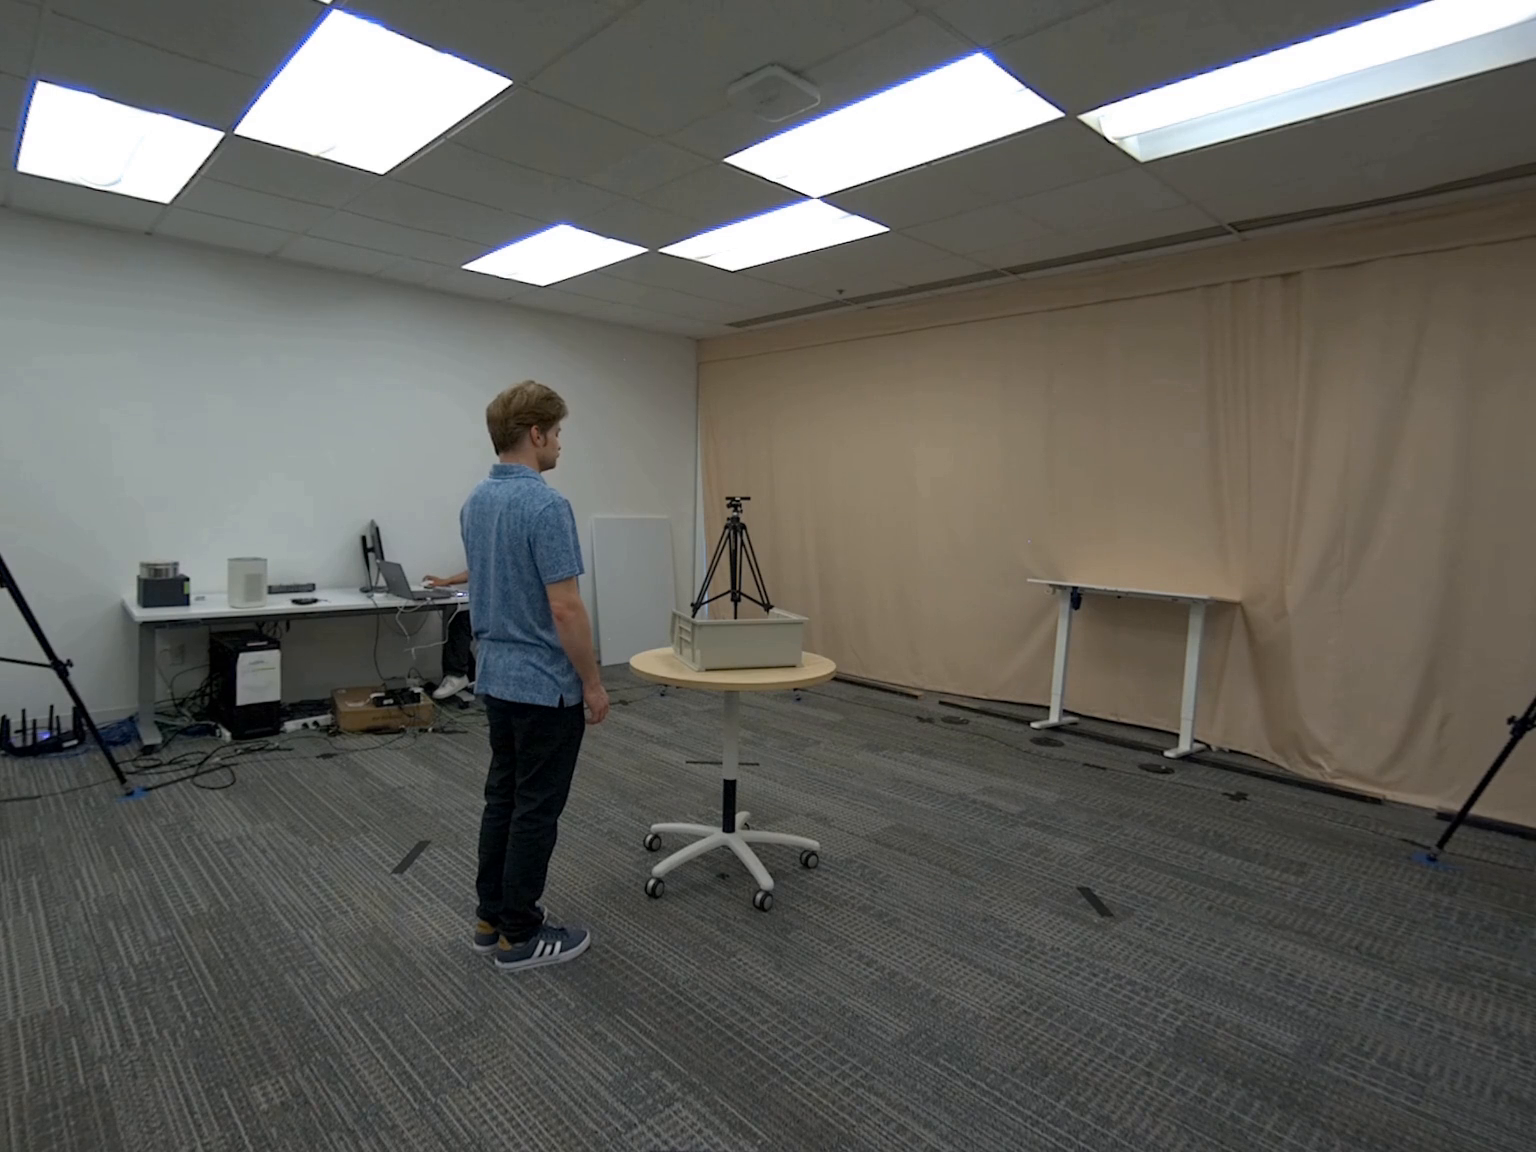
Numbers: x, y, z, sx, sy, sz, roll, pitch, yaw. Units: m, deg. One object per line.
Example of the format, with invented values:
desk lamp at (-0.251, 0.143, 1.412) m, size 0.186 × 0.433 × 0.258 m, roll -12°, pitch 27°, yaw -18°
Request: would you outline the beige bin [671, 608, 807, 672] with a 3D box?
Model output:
beige bin at (-0.124, 0.229, 3.151) m, size 0.416 × 0.188 × 0.384 m, roll 0°, pitch 6°, yaw -19°
